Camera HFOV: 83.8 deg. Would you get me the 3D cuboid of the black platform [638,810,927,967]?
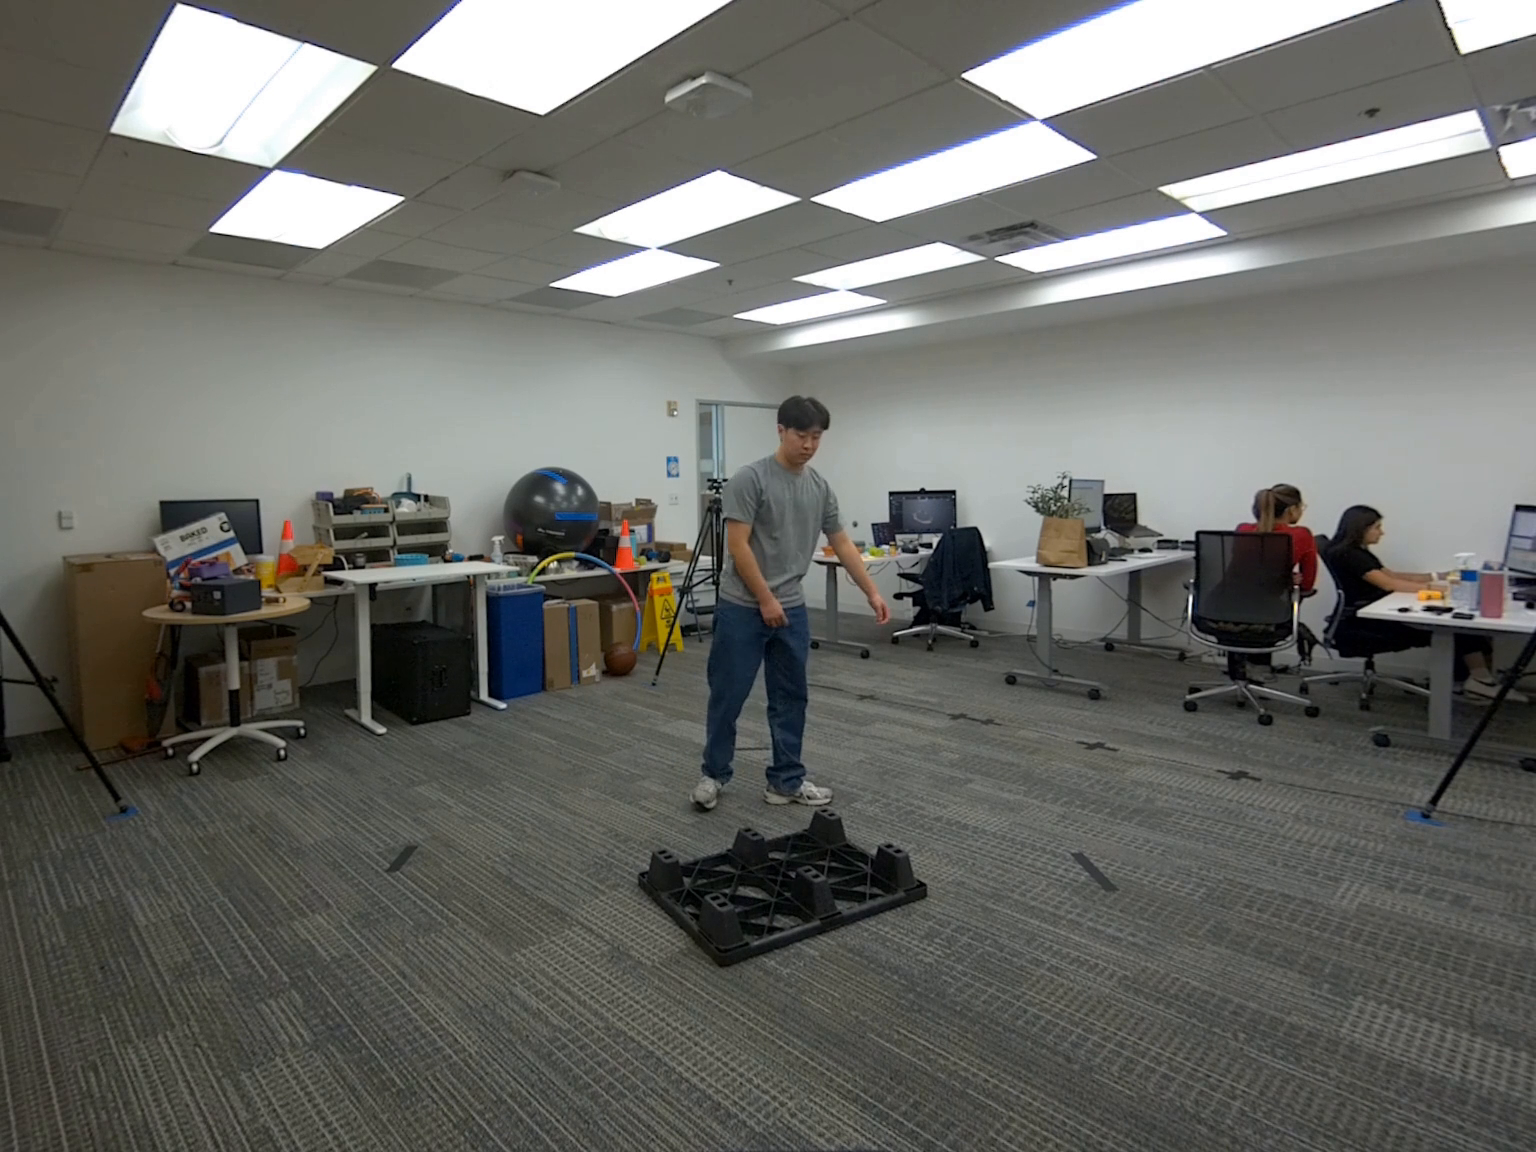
[{"bbox_3d":[0.046,1.003,2.898,0.786,0.142,0.623,-5,8,-32],"label":"black platform"}]
